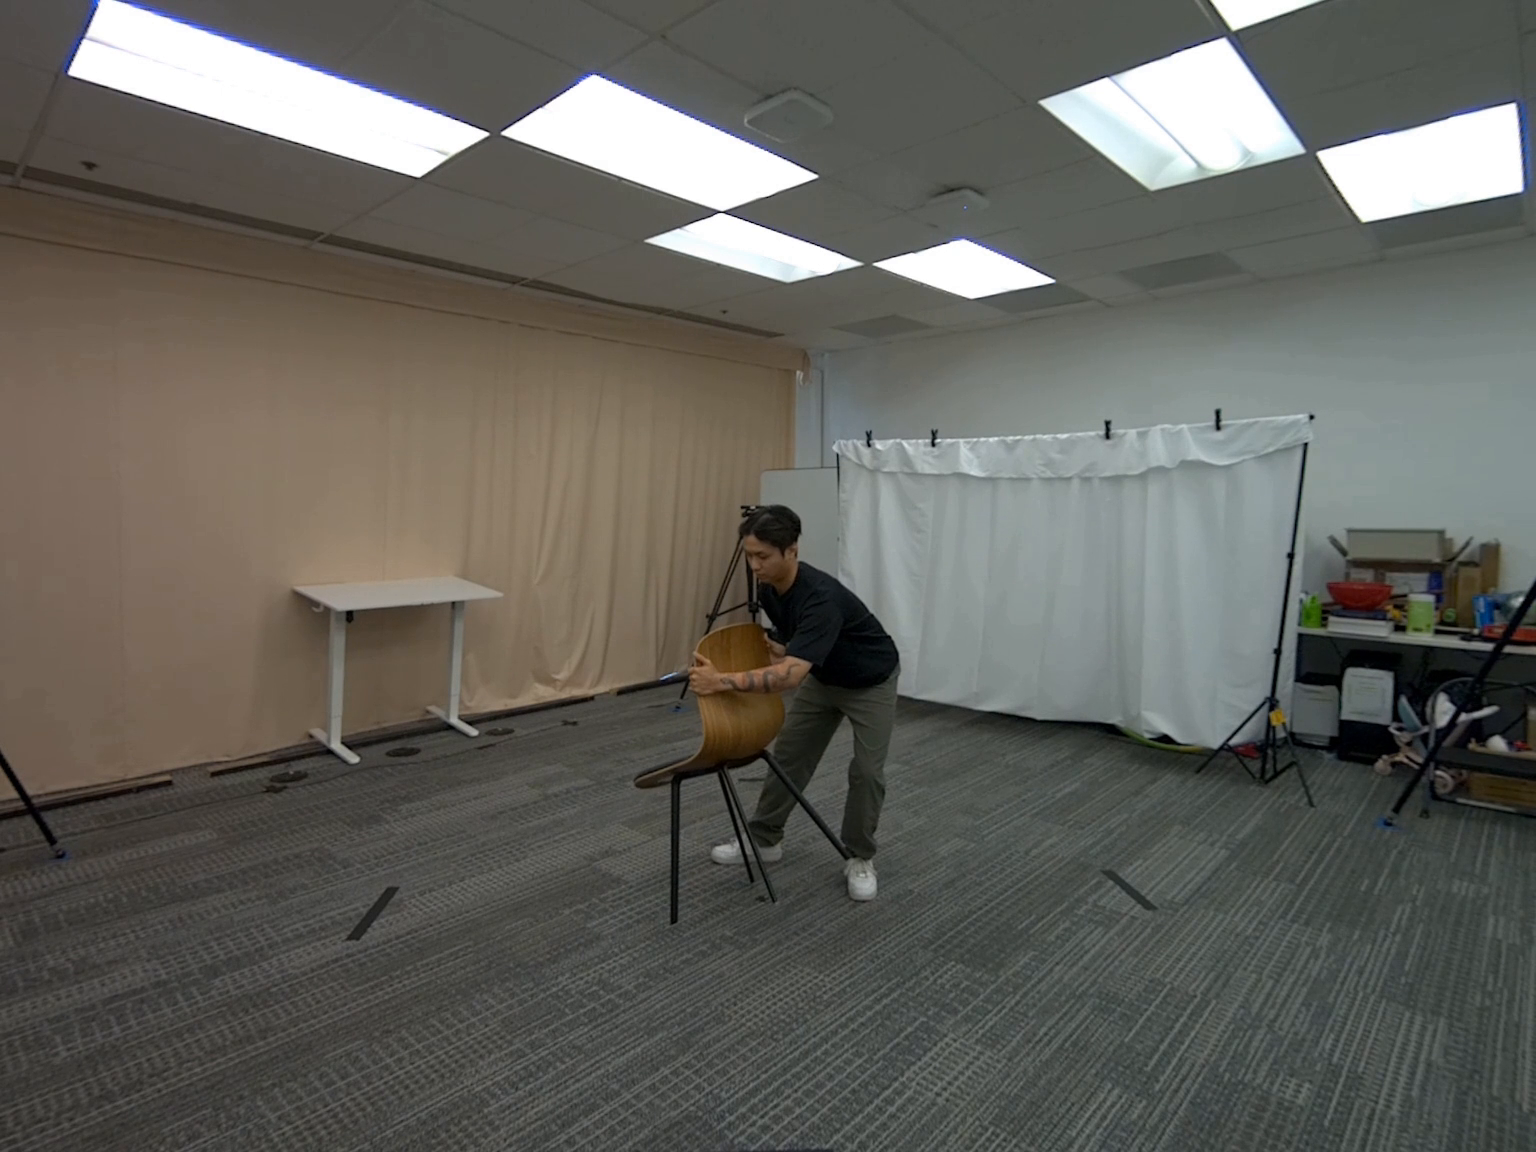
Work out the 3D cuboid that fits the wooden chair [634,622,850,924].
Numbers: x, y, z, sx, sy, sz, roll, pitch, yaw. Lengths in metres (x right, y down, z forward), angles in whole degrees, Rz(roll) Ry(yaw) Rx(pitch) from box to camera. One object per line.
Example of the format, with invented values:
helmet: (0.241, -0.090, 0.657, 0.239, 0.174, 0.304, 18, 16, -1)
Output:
wooden chair: (-0.163, 0.656, 2.896, 0.534, 0.886, 0.463, -24, -13, 35)
